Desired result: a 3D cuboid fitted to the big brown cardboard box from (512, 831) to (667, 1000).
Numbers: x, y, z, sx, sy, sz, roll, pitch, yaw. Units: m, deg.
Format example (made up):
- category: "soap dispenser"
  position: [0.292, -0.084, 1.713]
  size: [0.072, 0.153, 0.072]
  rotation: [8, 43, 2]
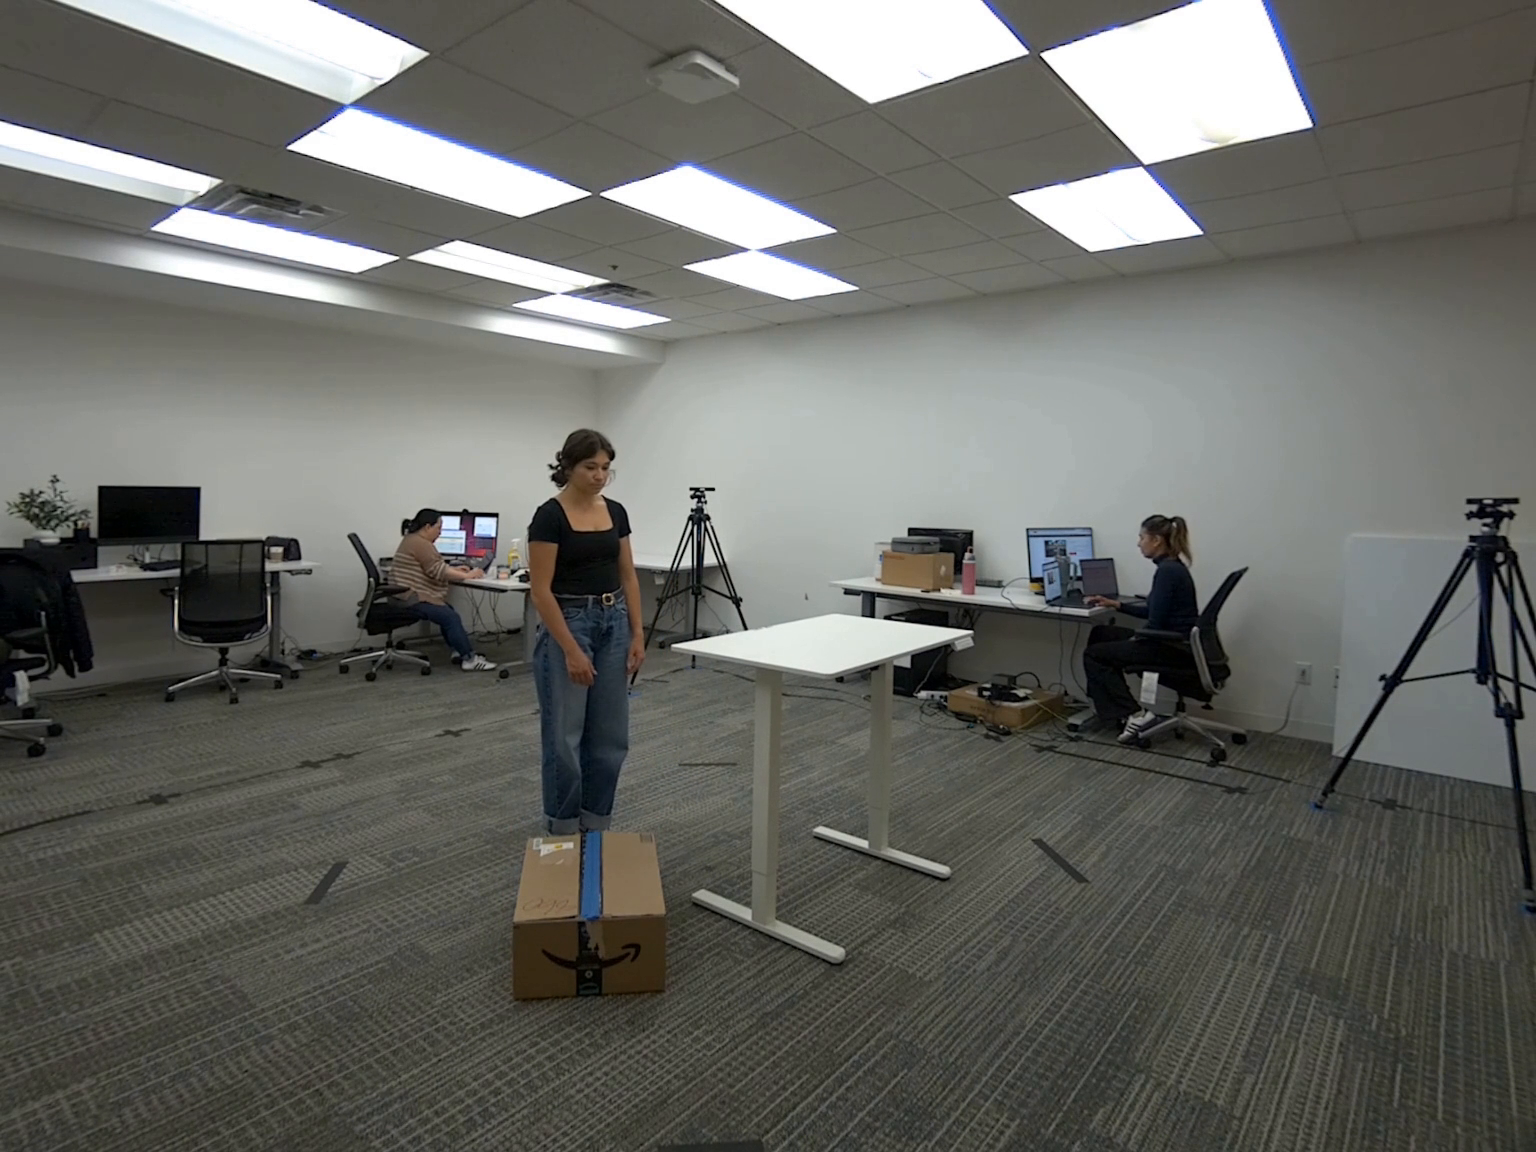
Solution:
- category: "big brown cardboard box"
  position: [-0.547, 0.999, 2.587]
  size: [0.413, 0.232, 0.598]
  rotation: [0, 6, -10]
